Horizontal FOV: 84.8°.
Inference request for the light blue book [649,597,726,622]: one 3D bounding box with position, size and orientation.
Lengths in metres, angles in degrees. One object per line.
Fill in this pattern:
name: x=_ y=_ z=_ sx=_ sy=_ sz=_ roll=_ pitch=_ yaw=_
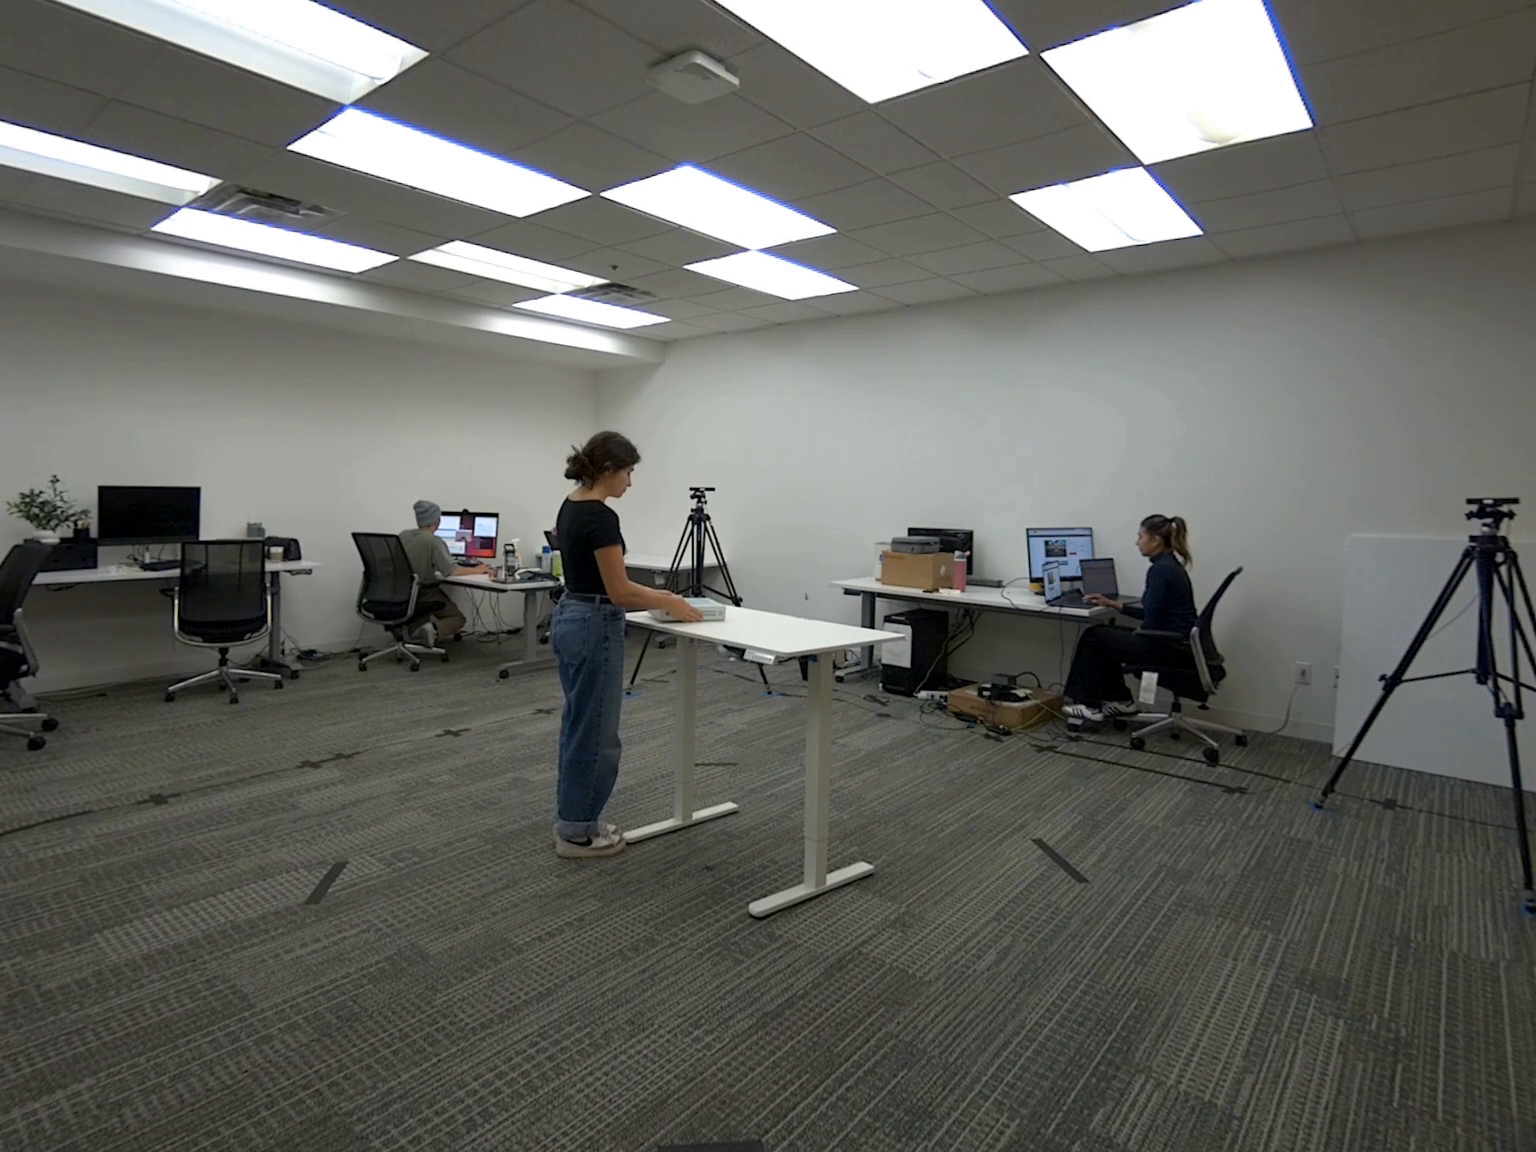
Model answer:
light blue book: x=-0.337 y=0.131 z=3.311 sx=0.255 sy=0.059 sz=0.197 roll=0 pitch=7 yaw=-24
